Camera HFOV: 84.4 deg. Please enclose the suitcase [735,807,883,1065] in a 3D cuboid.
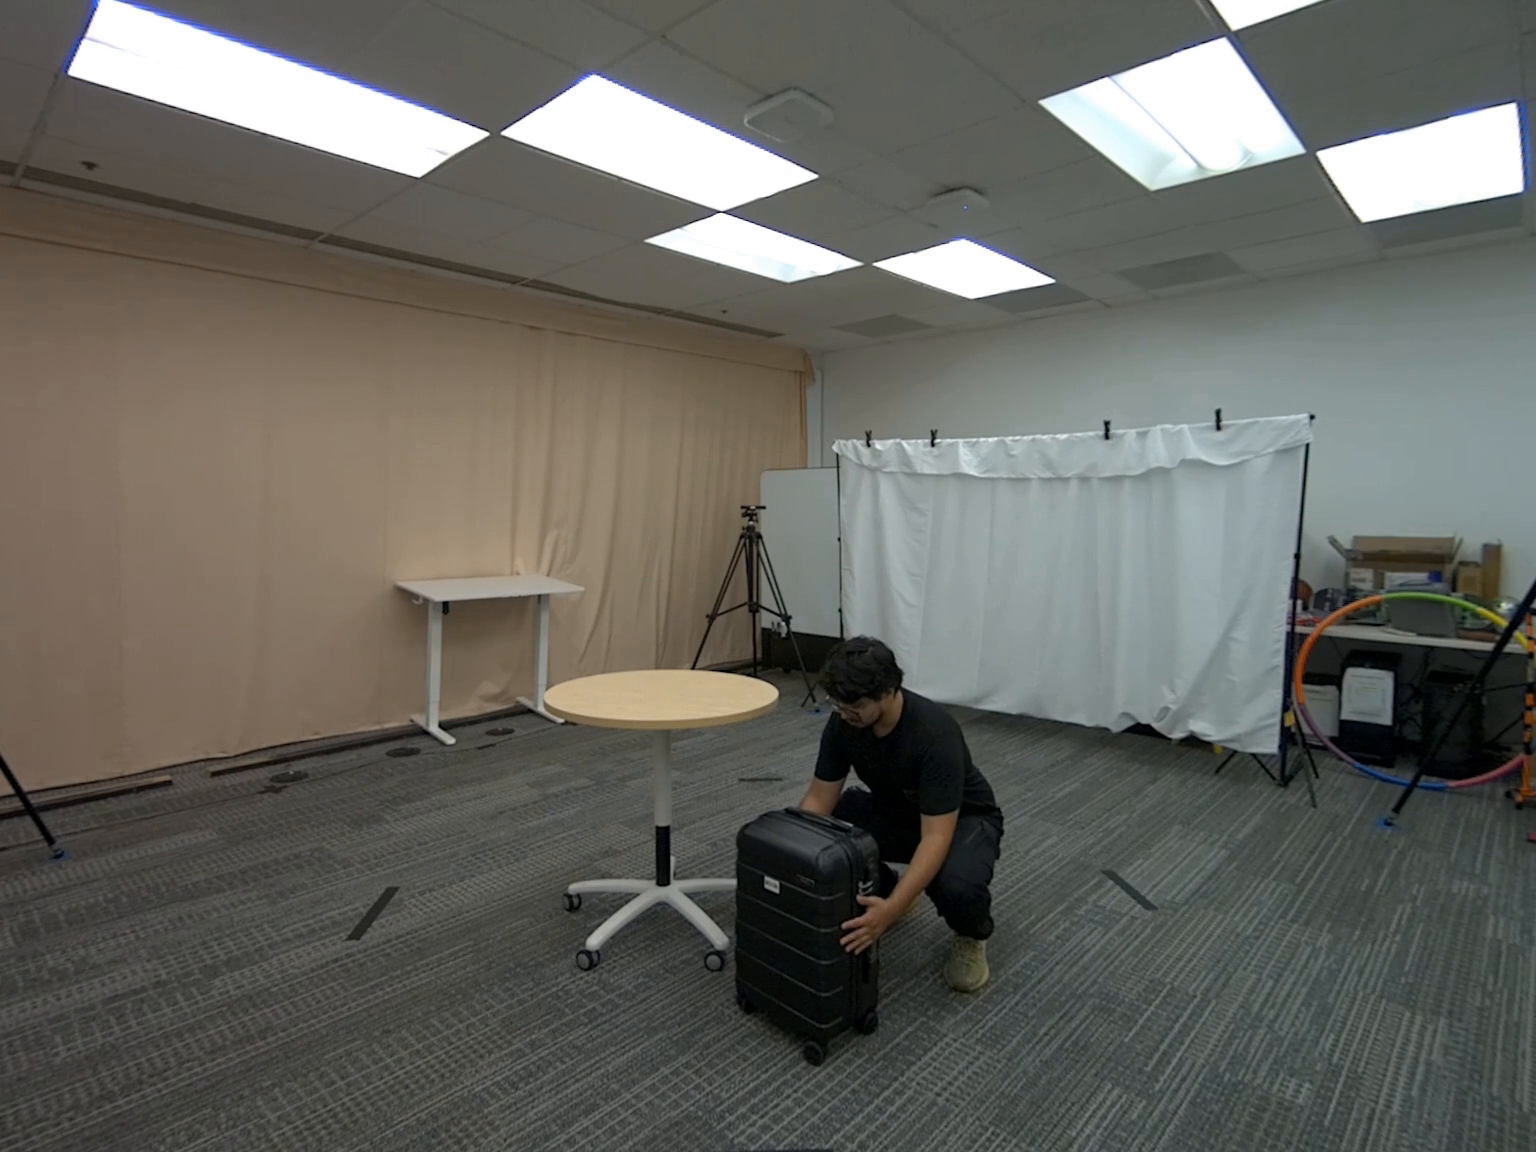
[{"bbox_3d":[0.113,0.933,2.265,0.388,0.548,0.241,4,6,44],"label":"suitcase"}]
